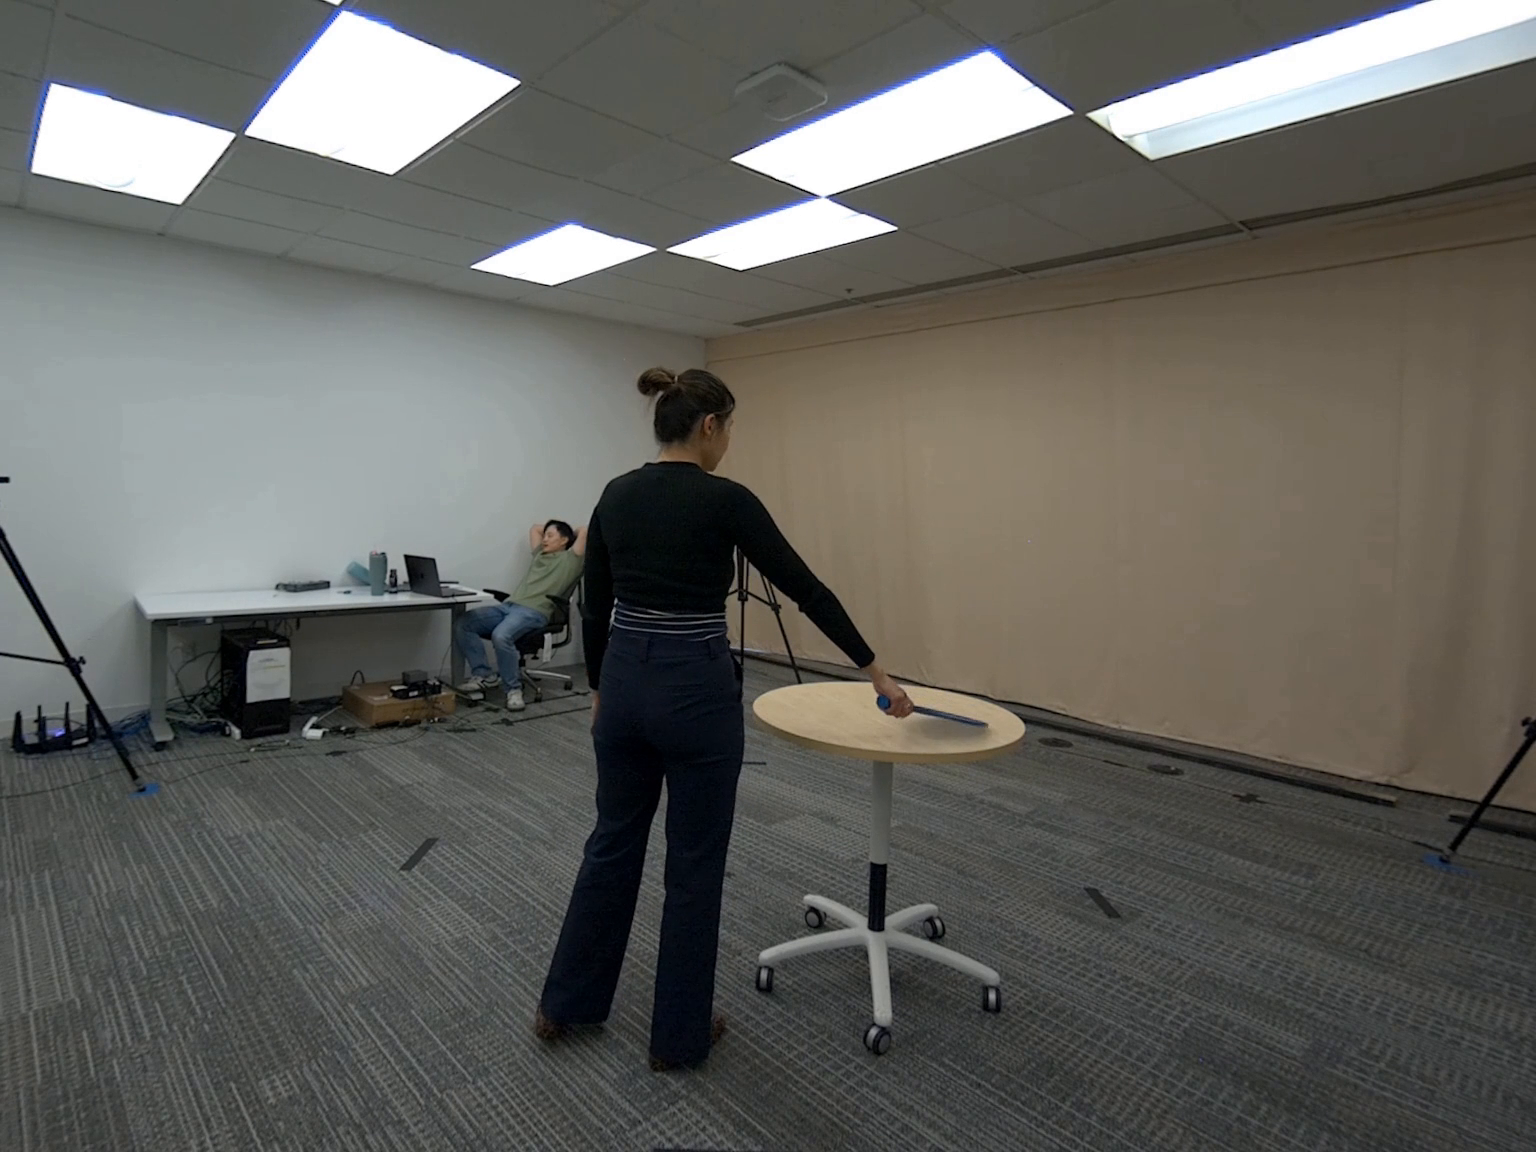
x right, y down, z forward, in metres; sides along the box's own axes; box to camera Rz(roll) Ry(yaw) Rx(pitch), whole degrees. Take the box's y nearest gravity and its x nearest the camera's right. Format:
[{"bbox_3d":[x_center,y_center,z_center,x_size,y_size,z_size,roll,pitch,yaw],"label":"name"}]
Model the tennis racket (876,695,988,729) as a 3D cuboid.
[{"bbox_3d":[0.431,0.369,2.224,0.219,0.032,0.420,10,-4,45],"label":"tennis racket"}]
